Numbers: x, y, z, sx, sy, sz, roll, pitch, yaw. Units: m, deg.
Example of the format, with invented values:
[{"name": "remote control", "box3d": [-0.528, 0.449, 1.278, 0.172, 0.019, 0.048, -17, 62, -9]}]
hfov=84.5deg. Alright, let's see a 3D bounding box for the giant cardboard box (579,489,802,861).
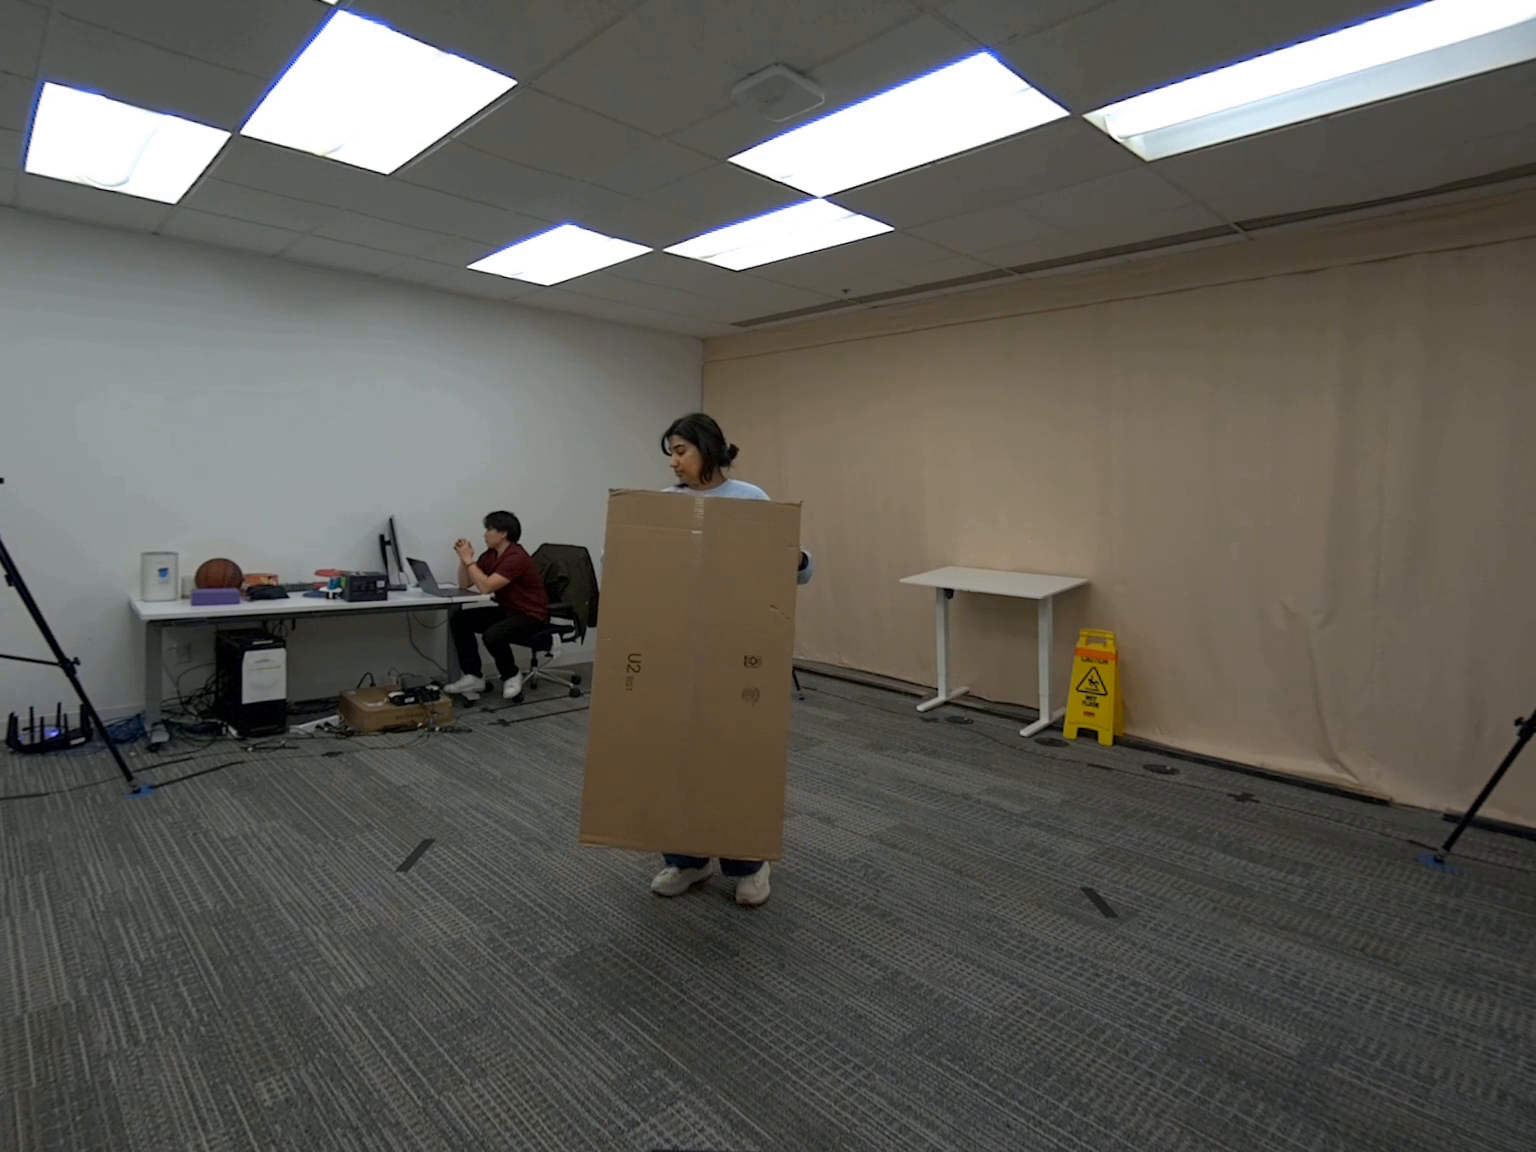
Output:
[{"name": "giant cardboard box", "box3d": [-0.238, 0.294, 2.611, 0.584, 1.032, 0.444, 4, -7, 0]}]
